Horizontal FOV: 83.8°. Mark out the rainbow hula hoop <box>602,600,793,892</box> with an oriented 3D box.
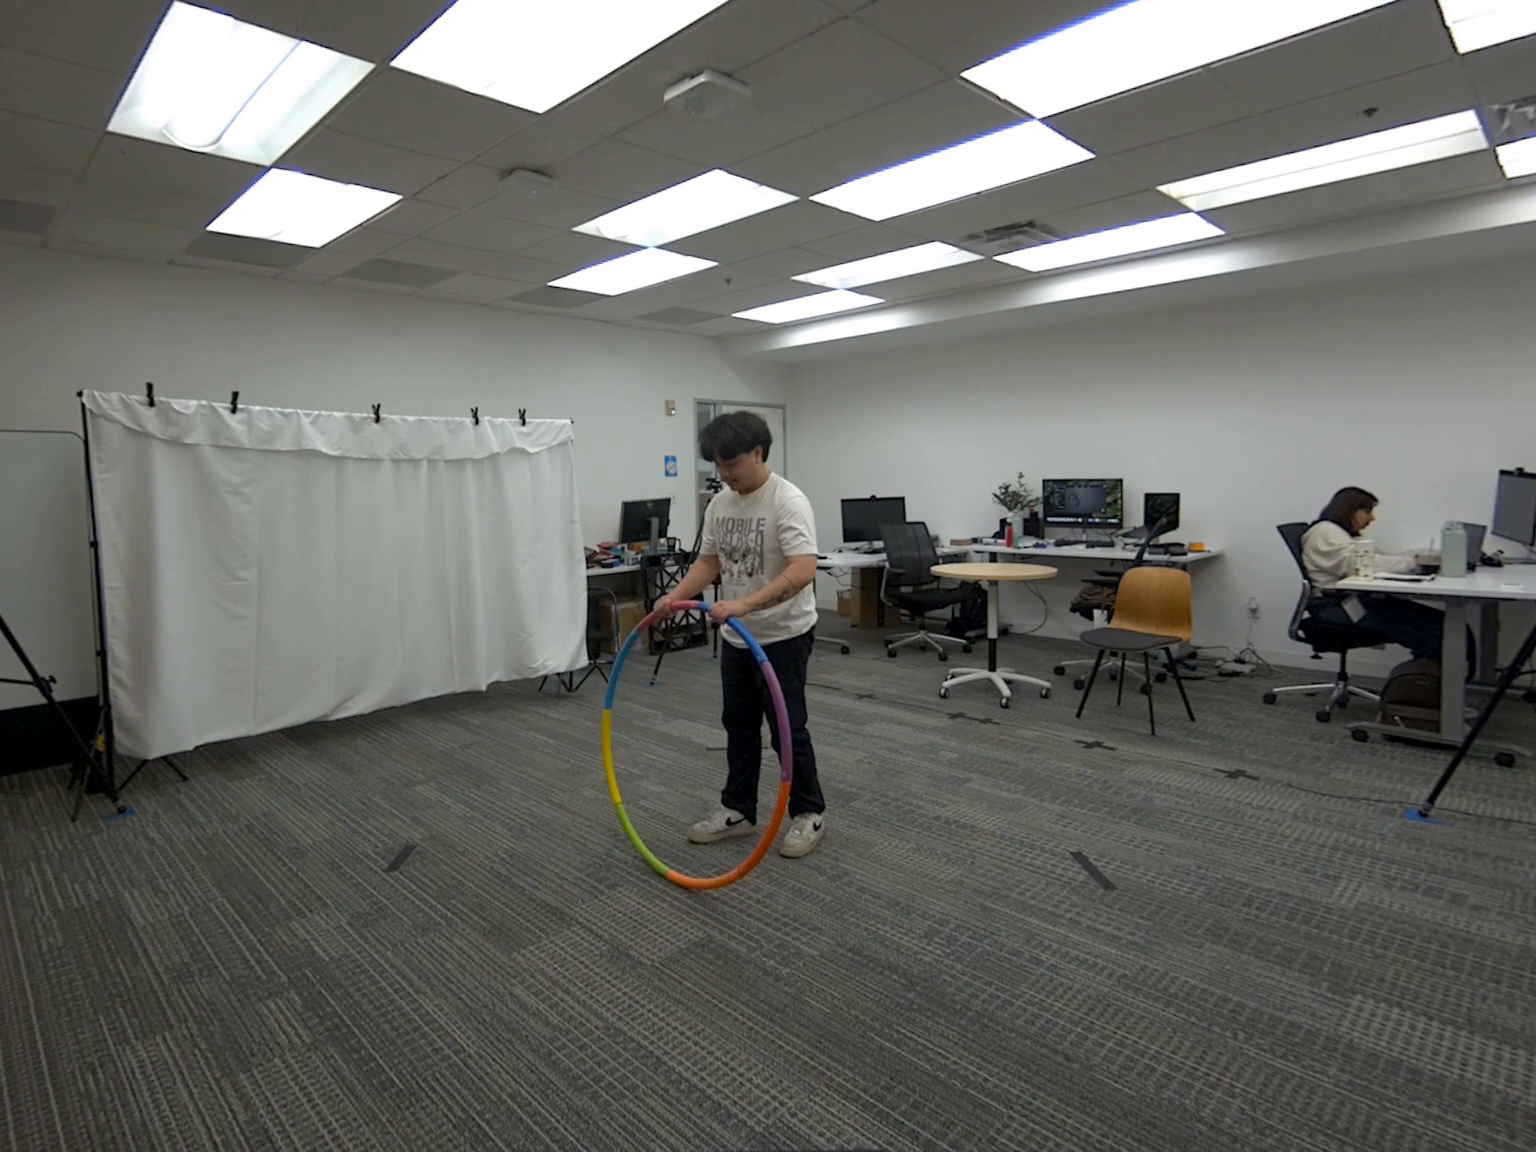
[{"bbox_3d":[-0.288,0.581,2.993,0.050,0.987,1.016,8,-3,-43],"label":"rainbow hula hoop"}]
